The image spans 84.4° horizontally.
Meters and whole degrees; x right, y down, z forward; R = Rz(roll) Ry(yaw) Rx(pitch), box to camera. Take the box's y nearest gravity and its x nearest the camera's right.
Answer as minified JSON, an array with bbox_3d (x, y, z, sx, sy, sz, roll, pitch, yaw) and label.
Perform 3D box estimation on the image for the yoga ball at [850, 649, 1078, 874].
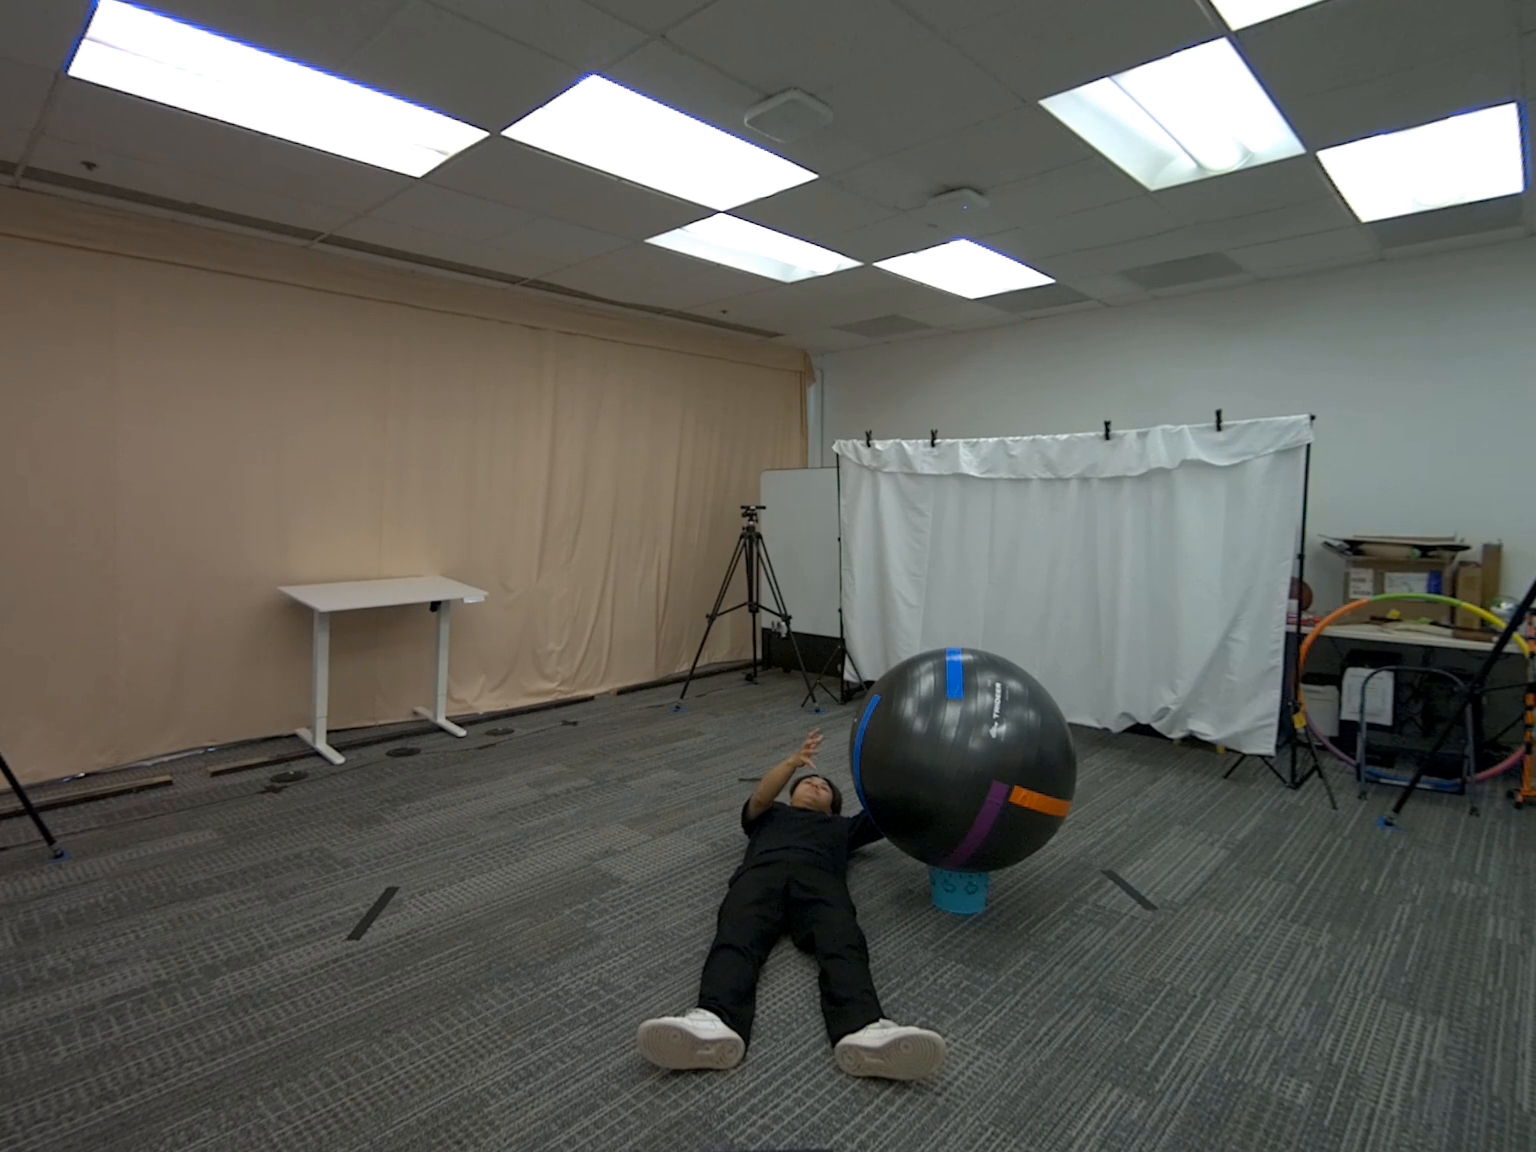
[{"bbox_3d":[0.671,0.639,2.932,0.757,0.756,0.760,0,4,-2],"label":"yoga ball"}]
